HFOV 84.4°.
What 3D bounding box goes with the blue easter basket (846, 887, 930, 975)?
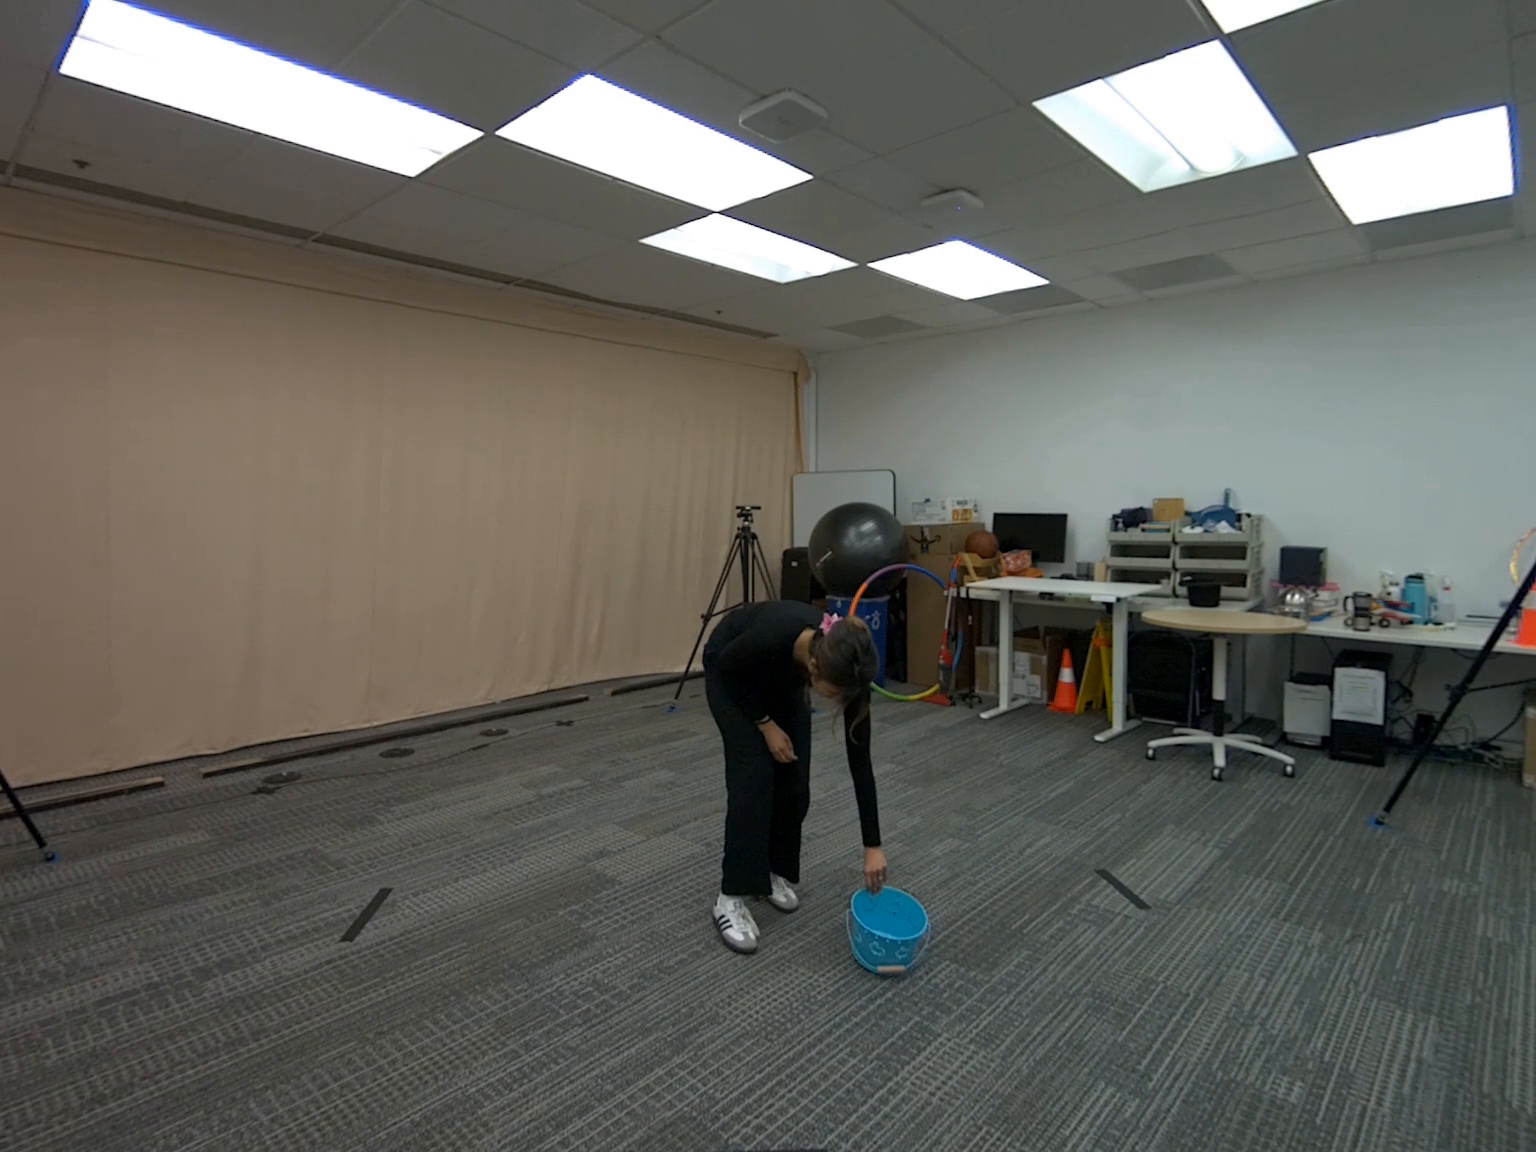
[{"bbox_3d":[0.364,1.084,2.552,0.243,0.155,0.246,5,15,-3],"label":"blue easter basket"}]
